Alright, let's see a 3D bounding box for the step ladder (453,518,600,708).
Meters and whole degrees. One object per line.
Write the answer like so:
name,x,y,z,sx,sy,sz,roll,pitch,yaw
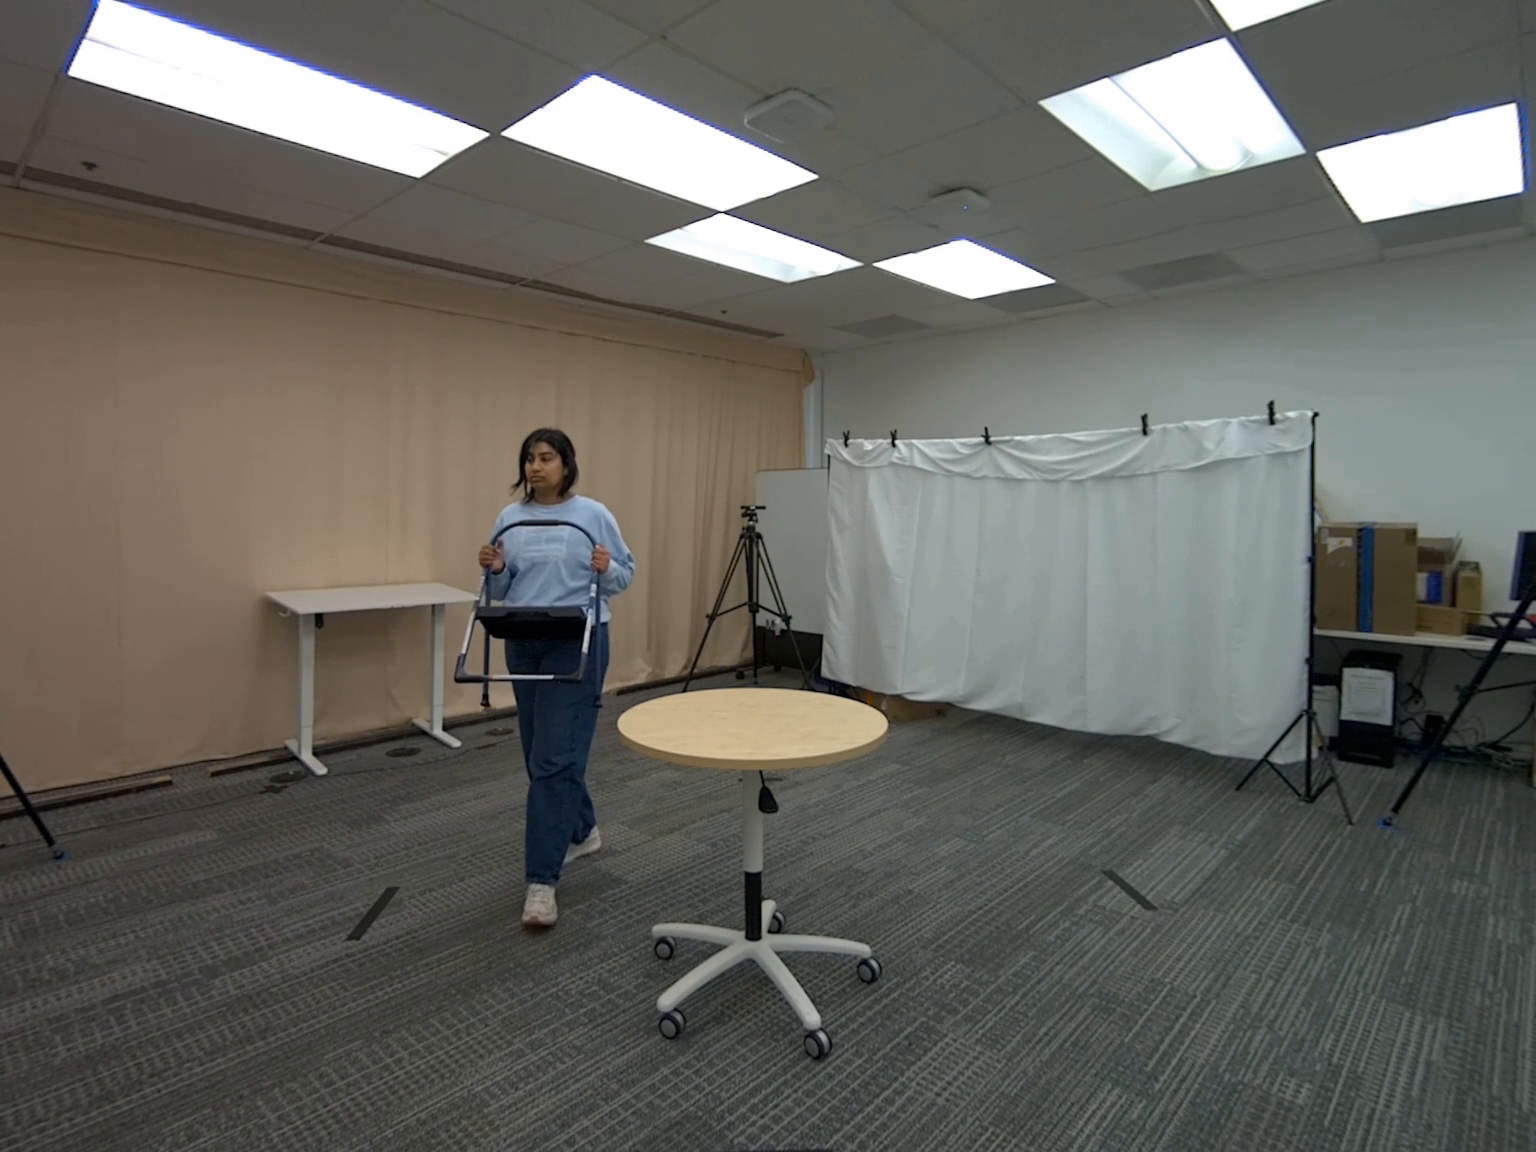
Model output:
step ladder,-0.784,0.112,2.901,0.431,0.614,0.344,0,-23,-1
